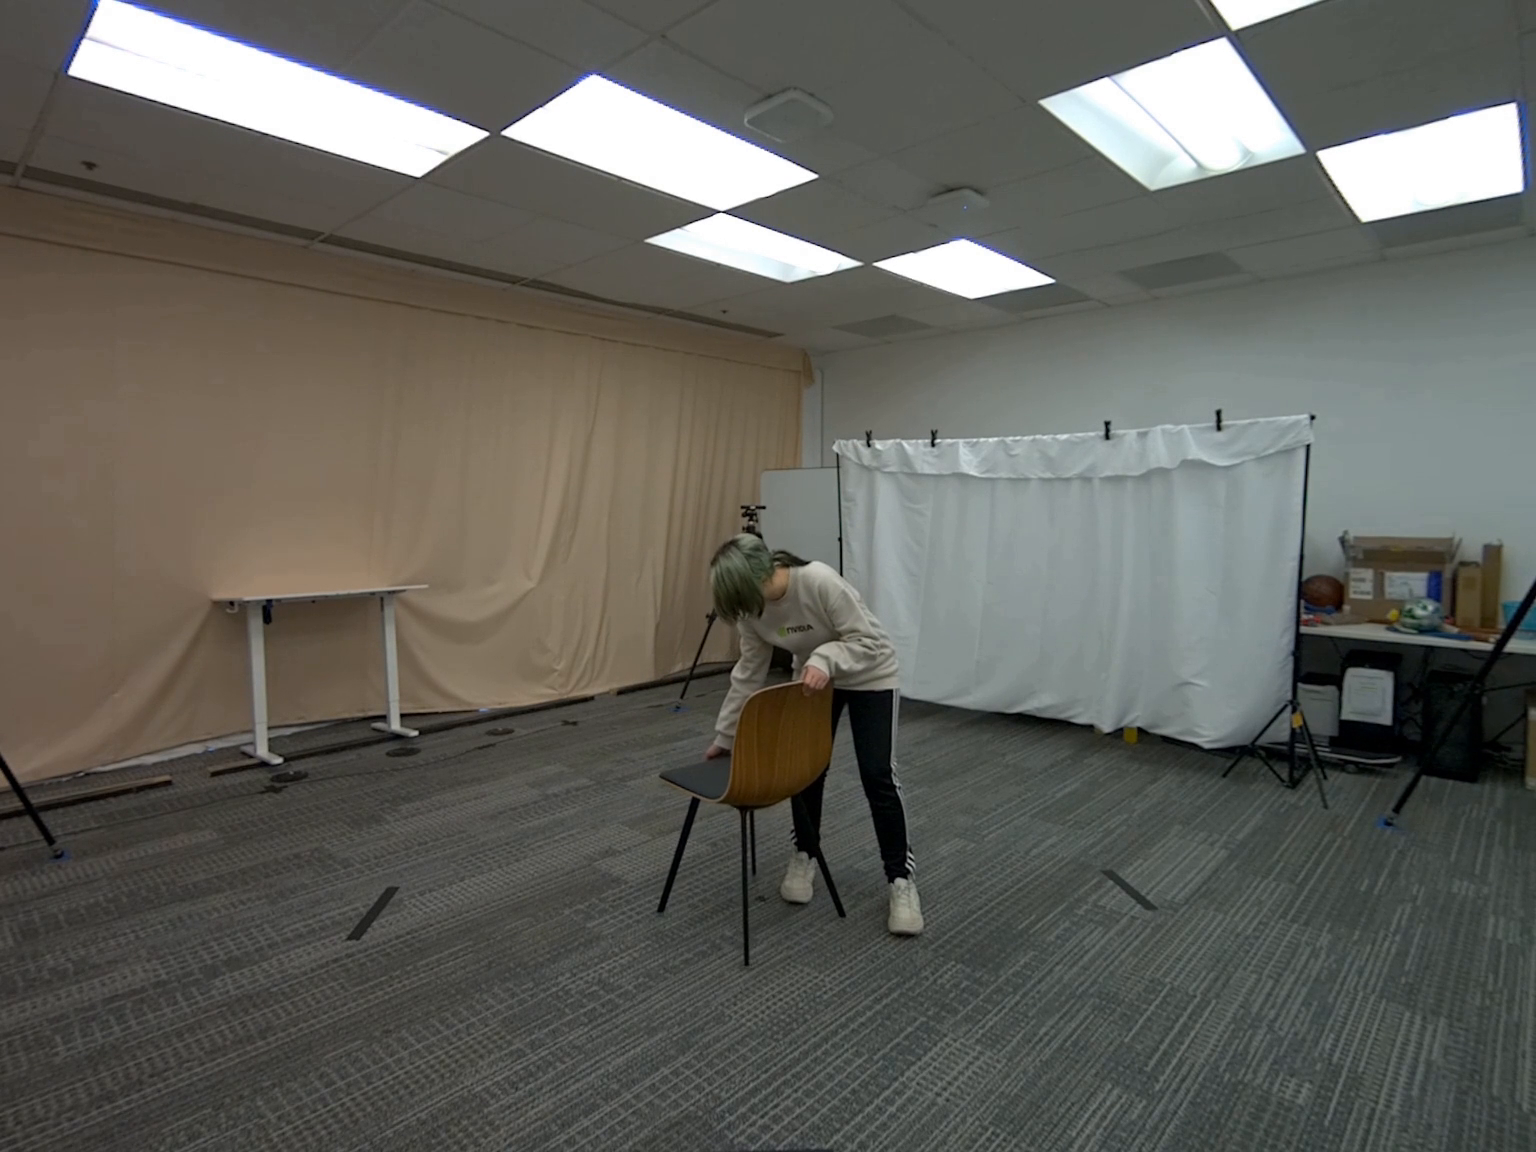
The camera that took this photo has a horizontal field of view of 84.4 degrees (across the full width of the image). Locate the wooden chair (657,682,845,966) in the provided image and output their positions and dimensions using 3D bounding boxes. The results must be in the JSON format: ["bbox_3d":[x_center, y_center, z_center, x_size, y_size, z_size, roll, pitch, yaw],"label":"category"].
[{"bbox_3d":[-0.075,0.719,2.816,0.463,0.874,0.541,-4,9,-42],"label":"wooden chair"}]
